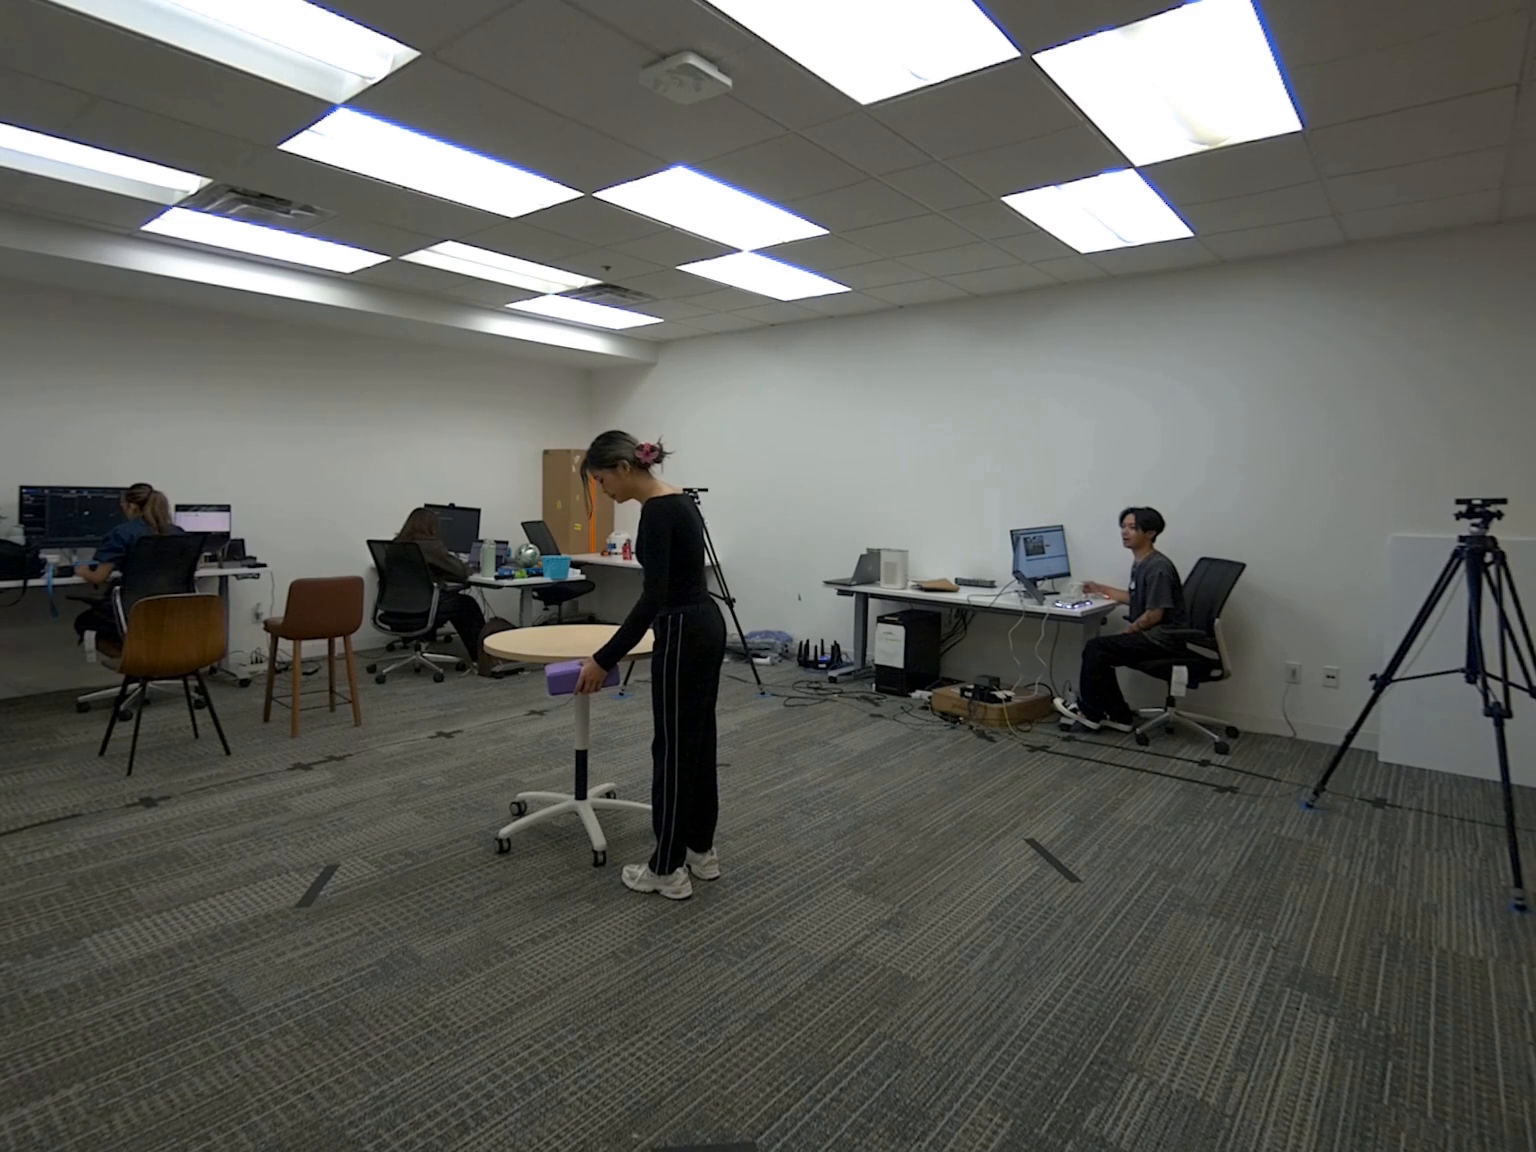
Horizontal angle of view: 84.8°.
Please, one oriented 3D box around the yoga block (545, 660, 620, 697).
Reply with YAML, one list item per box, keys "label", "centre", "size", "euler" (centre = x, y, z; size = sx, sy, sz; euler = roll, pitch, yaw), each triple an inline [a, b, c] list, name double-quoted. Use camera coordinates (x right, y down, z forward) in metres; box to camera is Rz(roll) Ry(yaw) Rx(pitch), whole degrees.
- label: "yoga block"
  centre: [-0.623, 0.320, 2.788]
  size: [0.226, 0.076, 0.152]
  euler: [-7, 8, -14]
